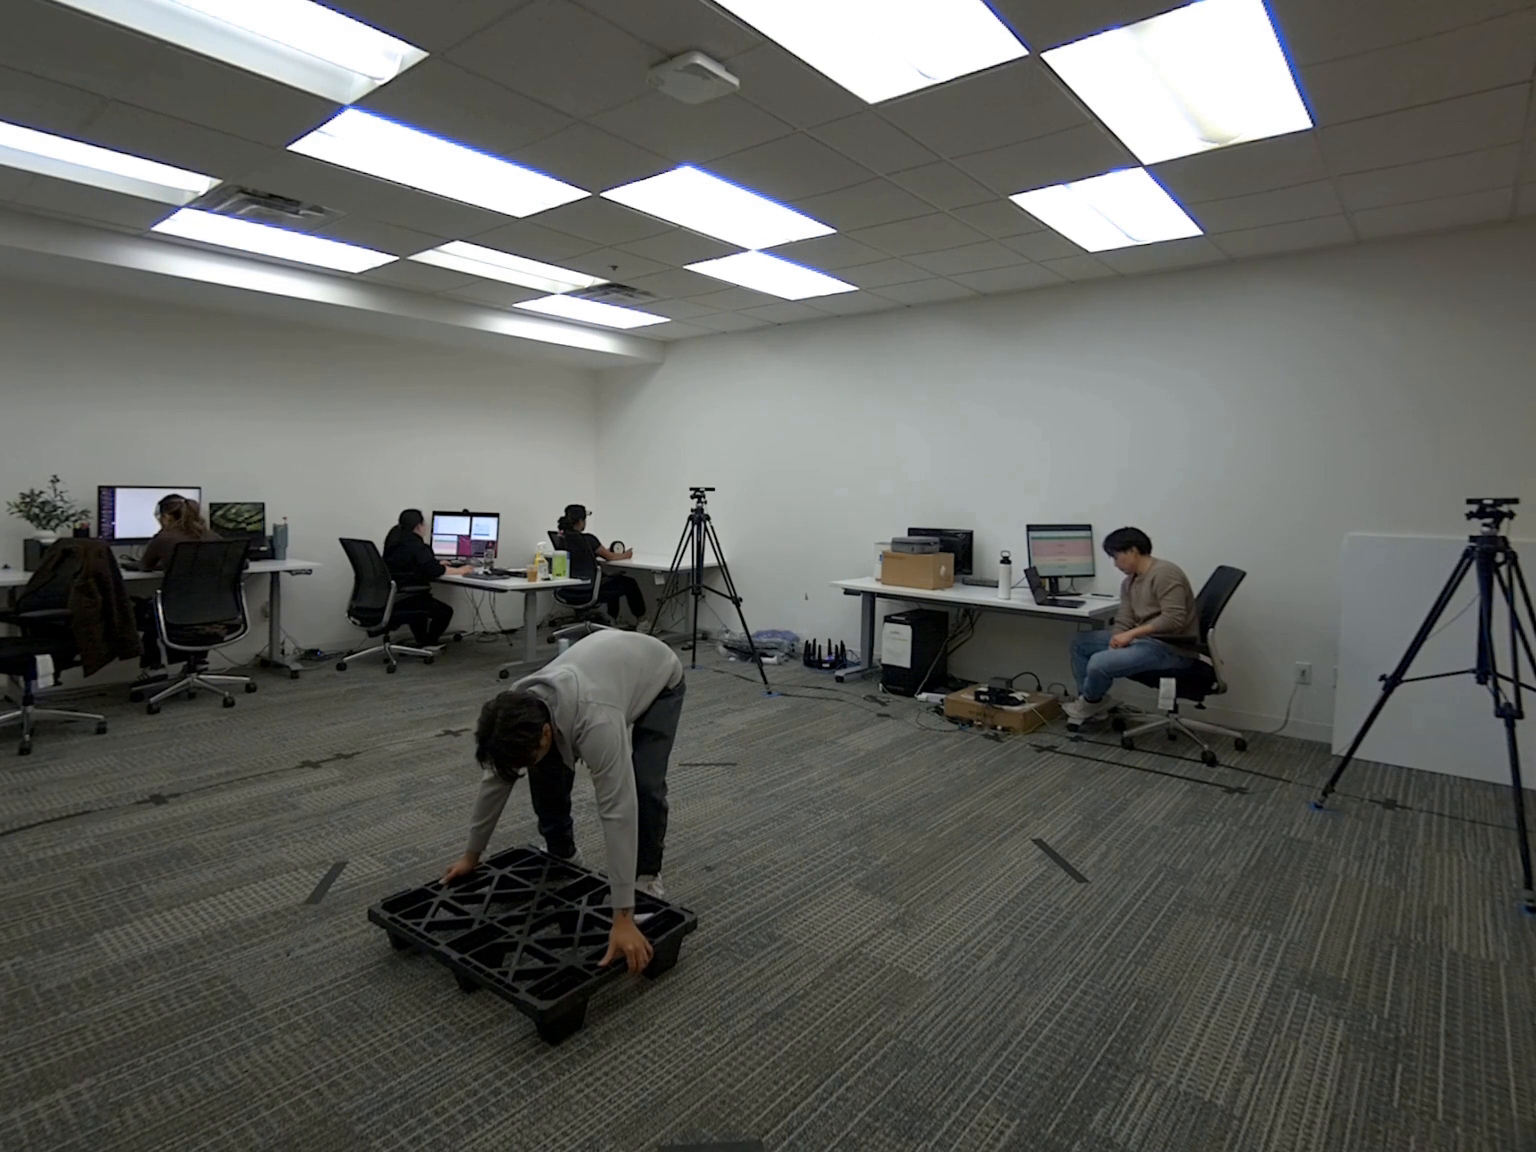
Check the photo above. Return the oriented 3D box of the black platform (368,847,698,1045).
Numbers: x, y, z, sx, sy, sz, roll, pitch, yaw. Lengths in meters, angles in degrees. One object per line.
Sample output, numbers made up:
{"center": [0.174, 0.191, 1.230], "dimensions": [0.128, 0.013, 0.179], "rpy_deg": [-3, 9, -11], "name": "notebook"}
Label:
{"center": [-0.704, 1.052, 2.517], "dimensions": [0.832, 0.143, 0.588], "rpy_deg": [5, 7, 35], "name": "black platform"}
